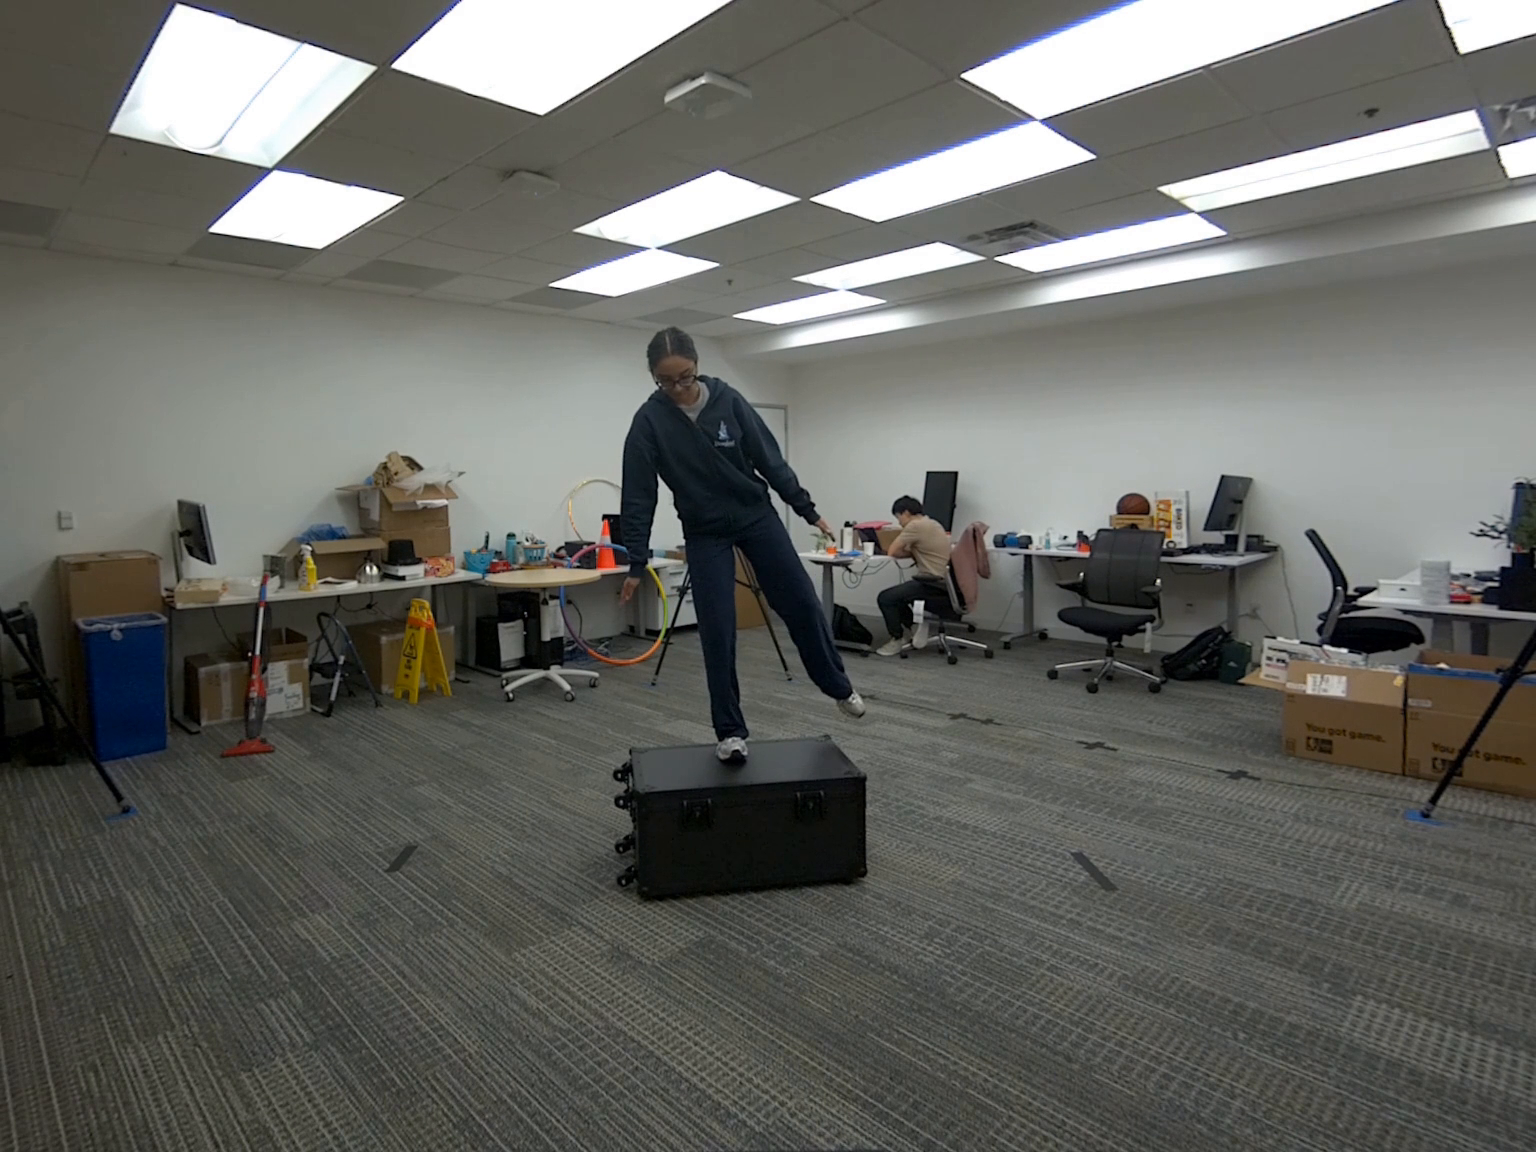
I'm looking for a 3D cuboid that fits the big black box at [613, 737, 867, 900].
[{"bbox_3d":[-0.128,0.856,3.094,0.854,0.395,0.528,-2,5,-9],"label":"big black box"}]
